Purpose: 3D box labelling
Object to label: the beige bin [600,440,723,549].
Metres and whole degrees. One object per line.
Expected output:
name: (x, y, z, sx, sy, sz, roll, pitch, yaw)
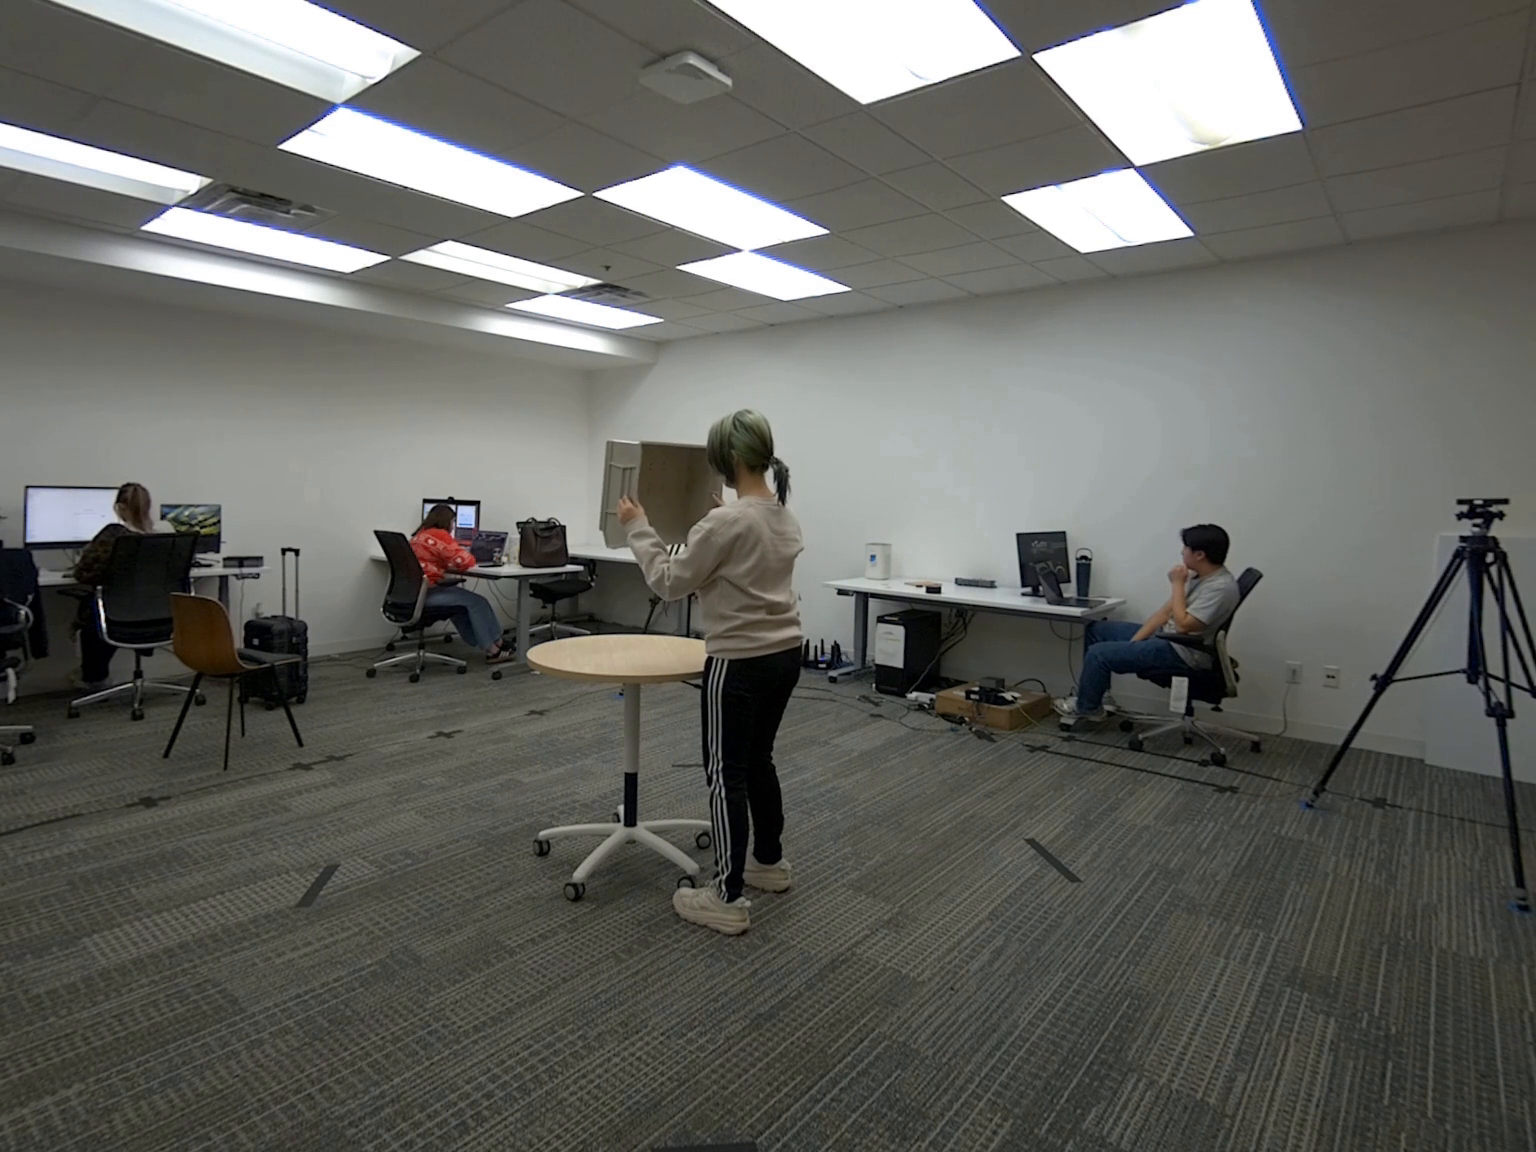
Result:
beige bin: (-0.384, -0.282, 3.007, 0.196, 0.375, 0.410, 11, 11, 41)
